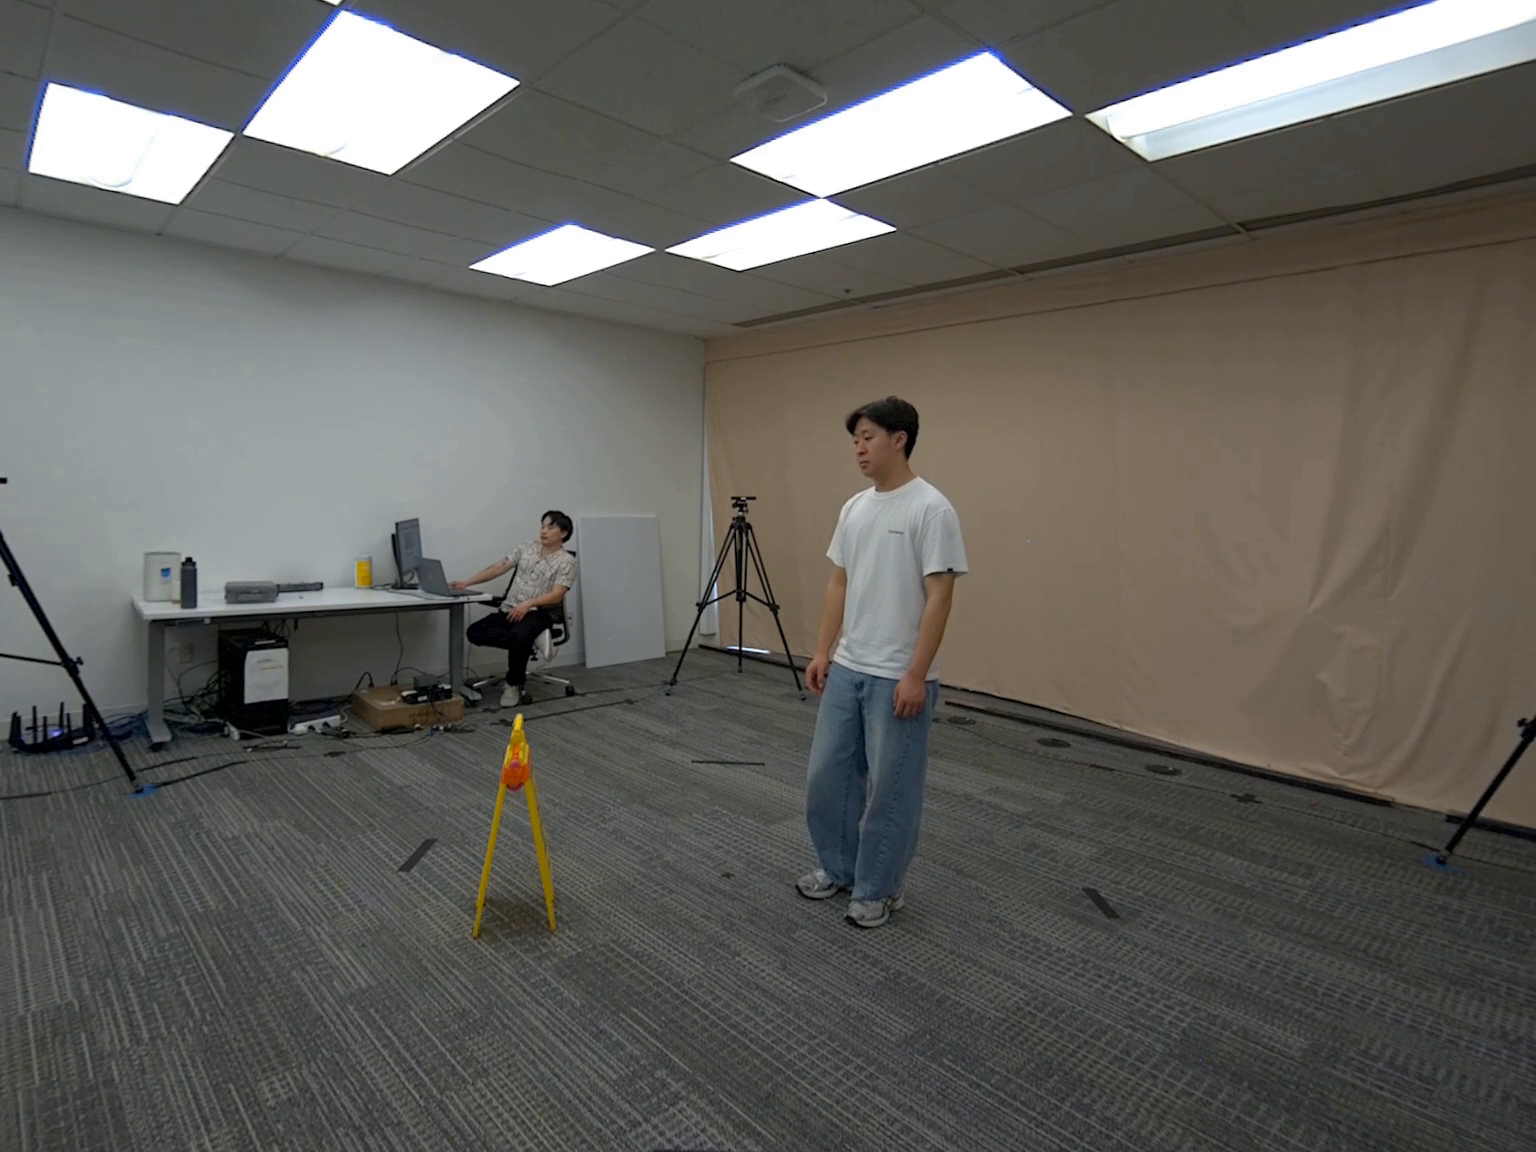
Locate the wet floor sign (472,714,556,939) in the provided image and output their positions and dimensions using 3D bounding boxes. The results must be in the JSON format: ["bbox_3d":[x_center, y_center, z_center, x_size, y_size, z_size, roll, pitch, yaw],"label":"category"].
[{"bbox_3d":[-0.831,0.799,2.783,0.287,0.645,0.285,1,3,-12],"label":"wet floor sign"}]
